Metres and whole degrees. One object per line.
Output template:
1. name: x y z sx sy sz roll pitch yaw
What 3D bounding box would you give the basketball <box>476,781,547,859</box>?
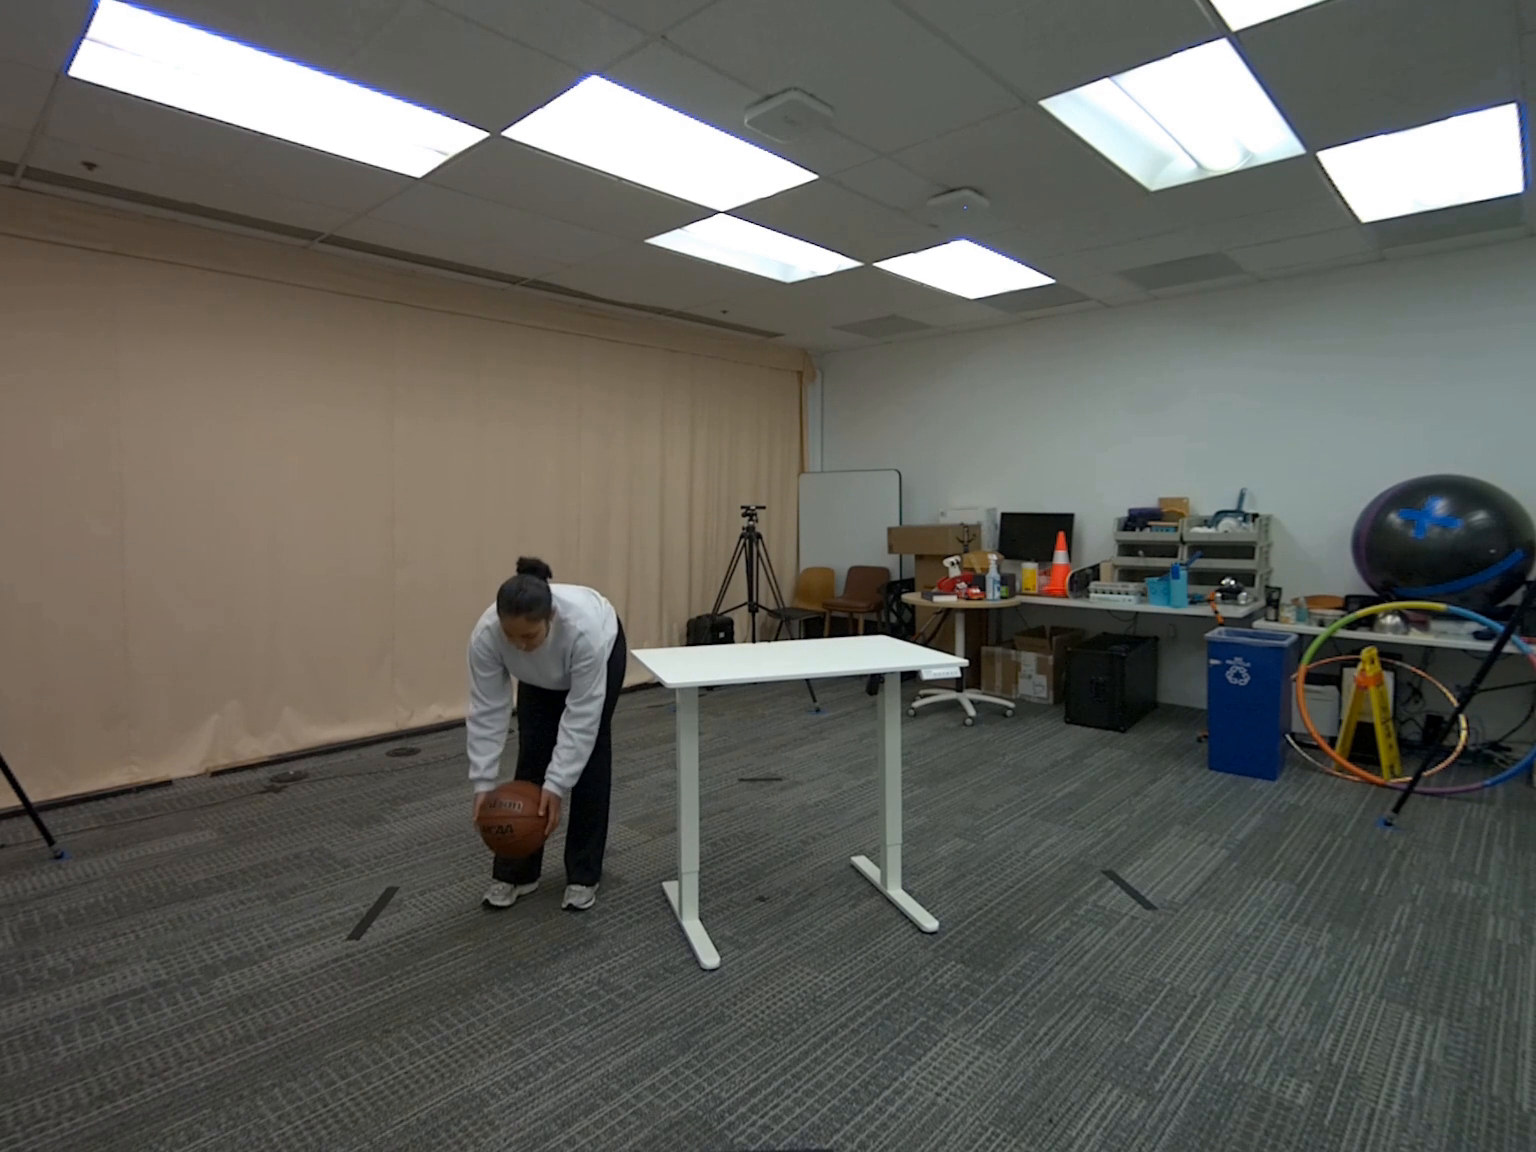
1. basketball: -0.810 0.775 2.730 0.236 0.235 0.237 0 4 -2
